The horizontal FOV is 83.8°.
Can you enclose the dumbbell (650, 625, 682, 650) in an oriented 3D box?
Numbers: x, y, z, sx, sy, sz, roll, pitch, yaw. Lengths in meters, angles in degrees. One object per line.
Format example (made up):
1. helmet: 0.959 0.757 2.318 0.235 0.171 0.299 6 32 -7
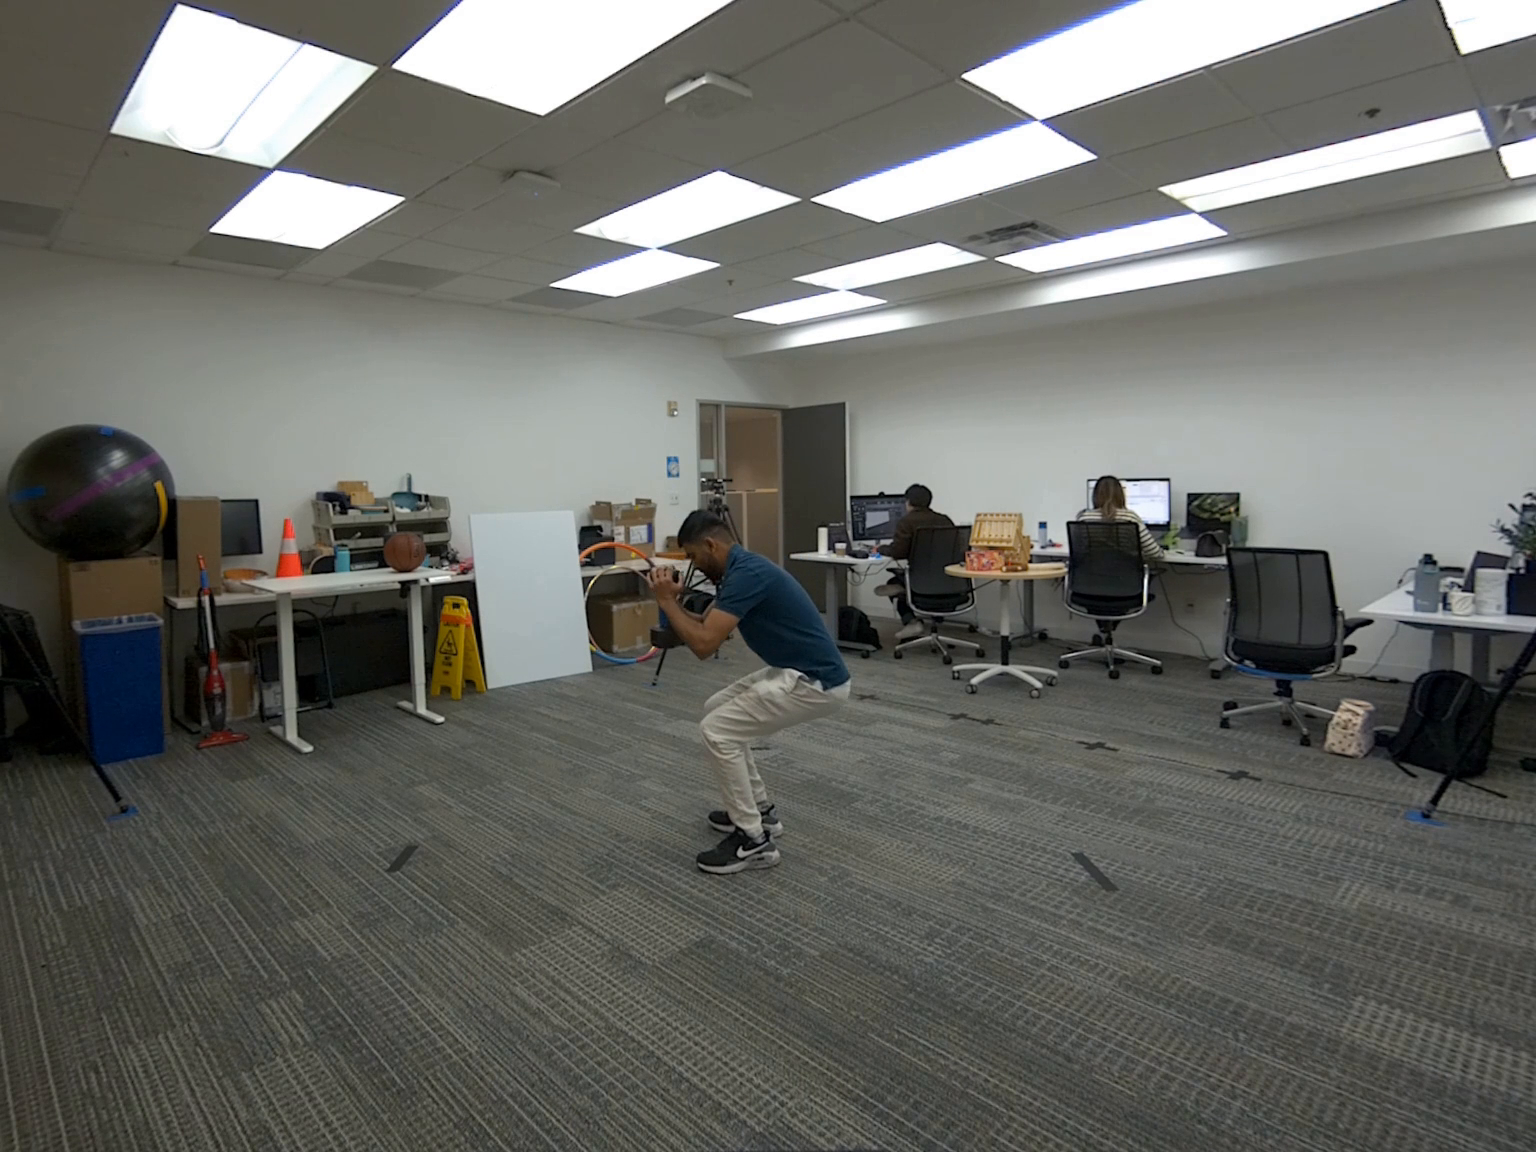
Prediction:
1. dumbbell: -0.377 0.126 3.232 0.123 0.293 0.109 1 3 -3
